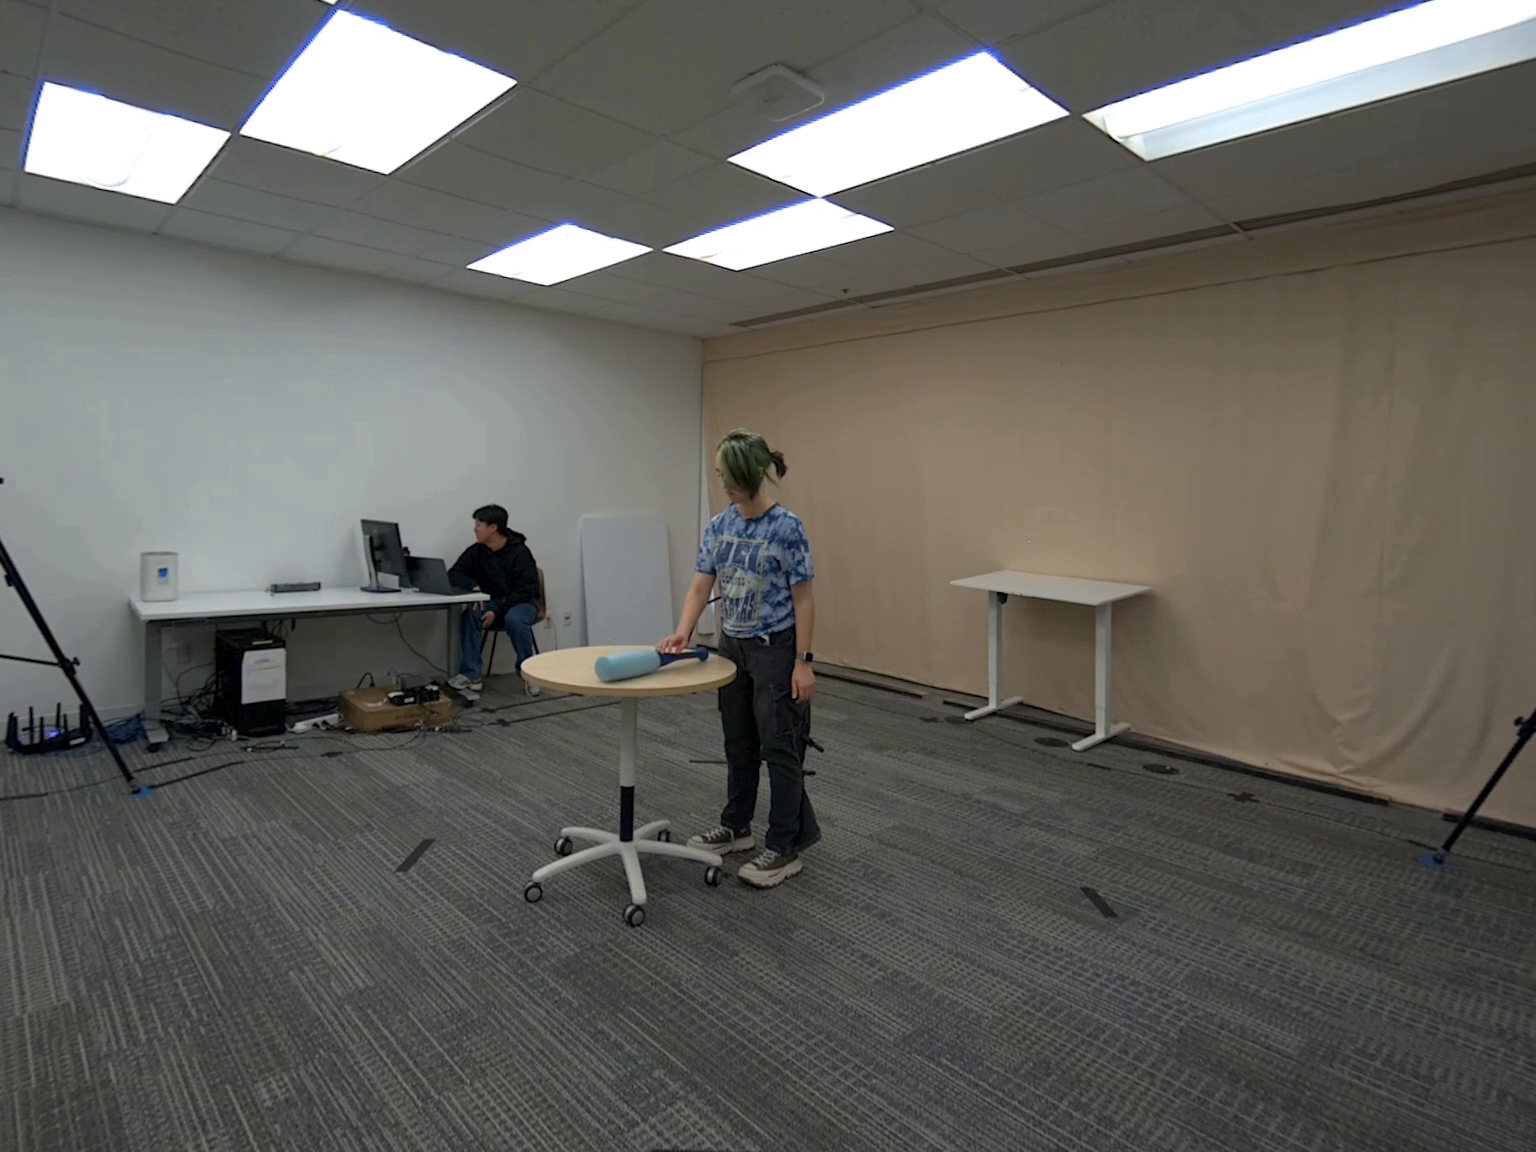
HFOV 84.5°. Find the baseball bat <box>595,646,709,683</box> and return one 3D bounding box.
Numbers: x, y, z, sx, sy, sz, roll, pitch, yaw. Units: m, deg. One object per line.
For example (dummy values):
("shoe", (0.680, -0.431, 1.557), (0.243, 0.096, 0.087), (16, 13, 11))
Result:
("baseball bat", (-0.390, 0.297, 2.917), (0.091, 0.089, 0.531), (4, 3, 34))
